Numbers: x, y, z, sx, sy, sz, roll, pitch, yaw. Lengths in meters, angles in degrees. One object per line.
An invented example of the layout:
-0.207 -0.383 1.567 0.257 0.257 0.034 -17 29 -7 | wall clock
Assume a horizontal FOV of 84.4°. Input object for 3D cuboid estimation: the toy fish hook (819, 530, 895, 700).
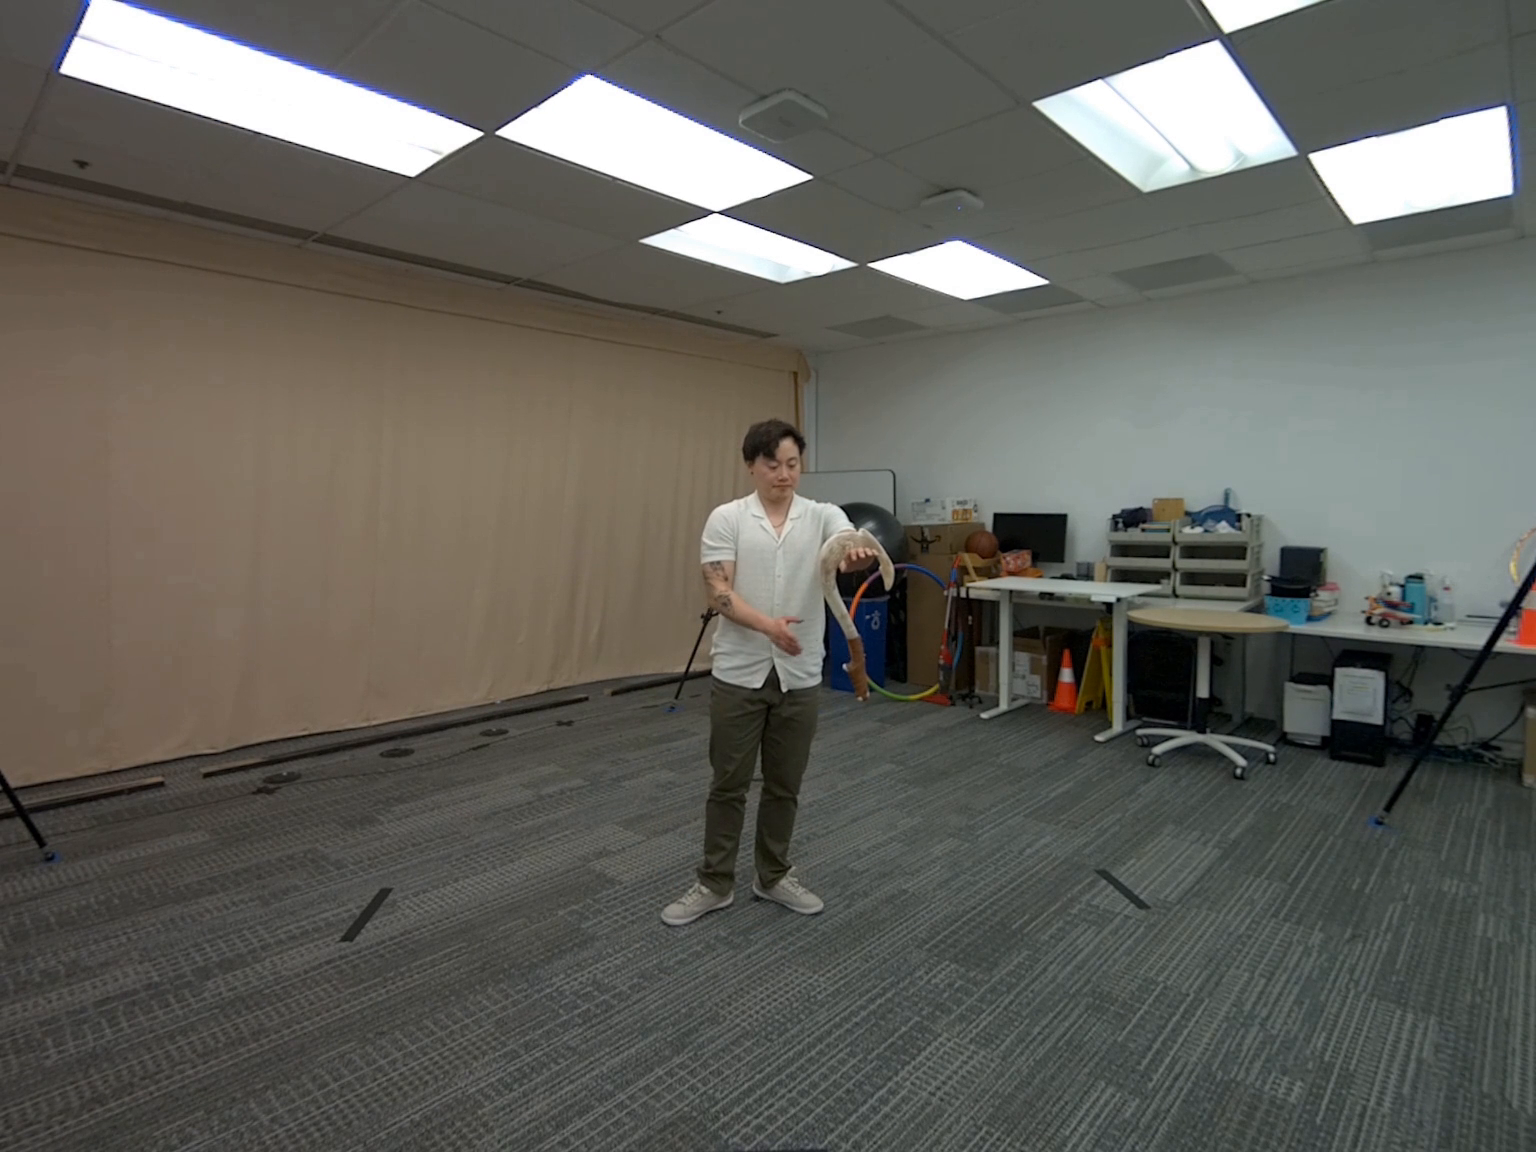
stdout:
0.283 0.118 2.484 0.224 0.503 0.049 -11 7 -3 | toy fish hook
